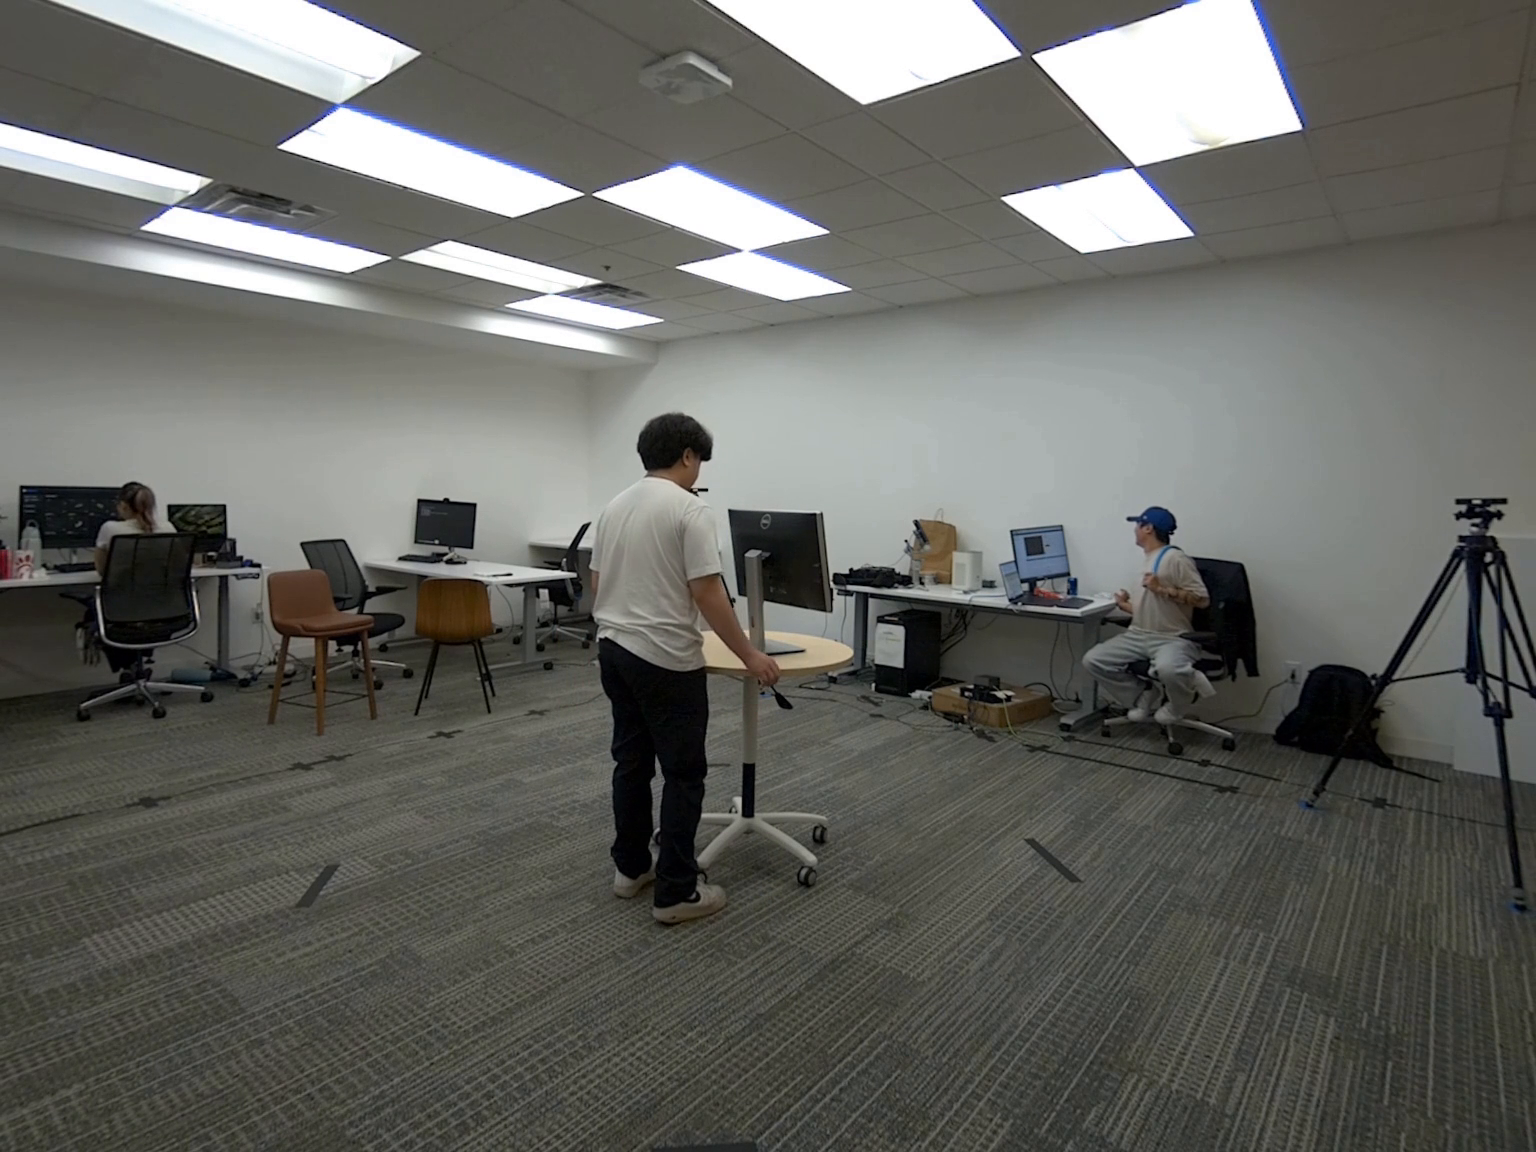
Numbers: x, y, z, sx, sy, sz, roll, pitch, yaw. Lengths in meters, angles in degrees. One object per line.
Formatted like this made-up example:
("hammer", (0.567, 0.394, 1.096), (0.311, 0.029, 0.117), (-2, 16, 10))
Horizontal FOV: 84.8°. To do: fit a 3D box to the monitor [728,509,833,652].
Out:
("monitor", (-0.028, 0.020, 3.193), (0.204, 0.551, 0.584), (-6, 8, -36))
